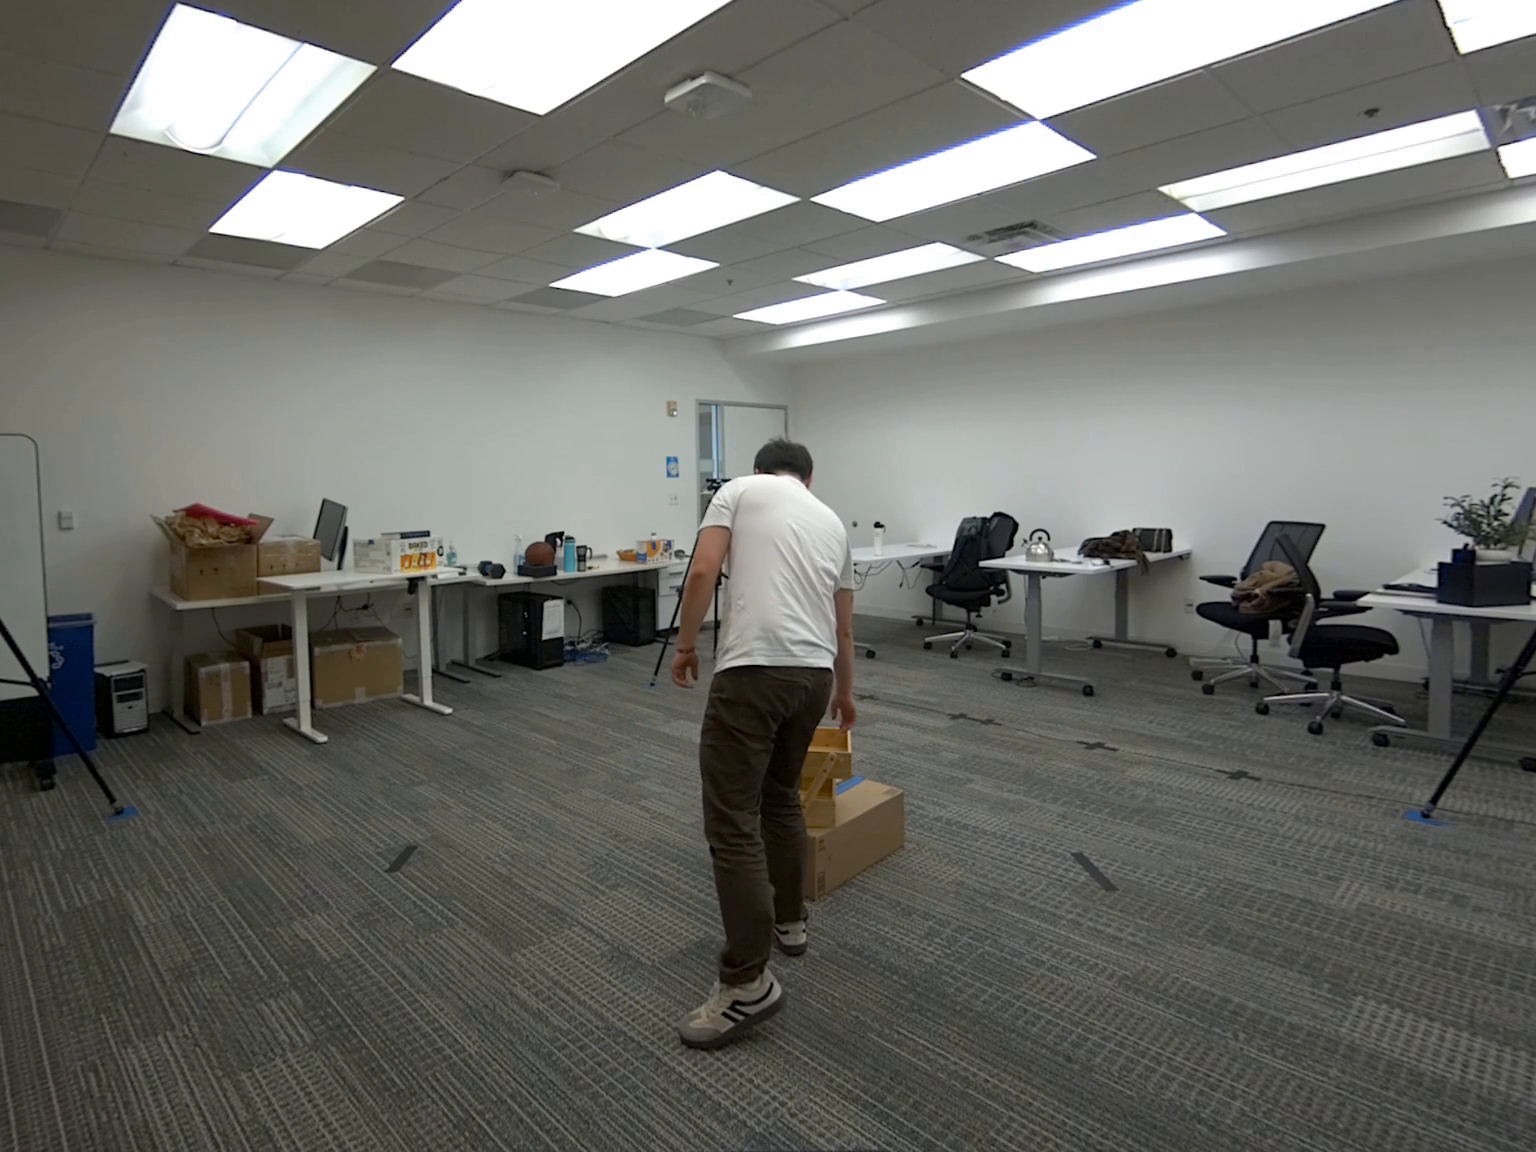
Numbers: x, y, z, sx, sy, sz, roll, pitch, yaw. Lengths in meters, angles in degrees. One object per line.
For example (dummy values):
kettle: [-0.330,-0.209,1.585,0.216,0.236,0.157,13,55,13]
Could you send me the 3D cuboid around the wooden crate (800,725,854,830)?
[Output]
wooden crate: [0.145,0.701,3.045,0.304,0.272,0.323,1,4,7]
